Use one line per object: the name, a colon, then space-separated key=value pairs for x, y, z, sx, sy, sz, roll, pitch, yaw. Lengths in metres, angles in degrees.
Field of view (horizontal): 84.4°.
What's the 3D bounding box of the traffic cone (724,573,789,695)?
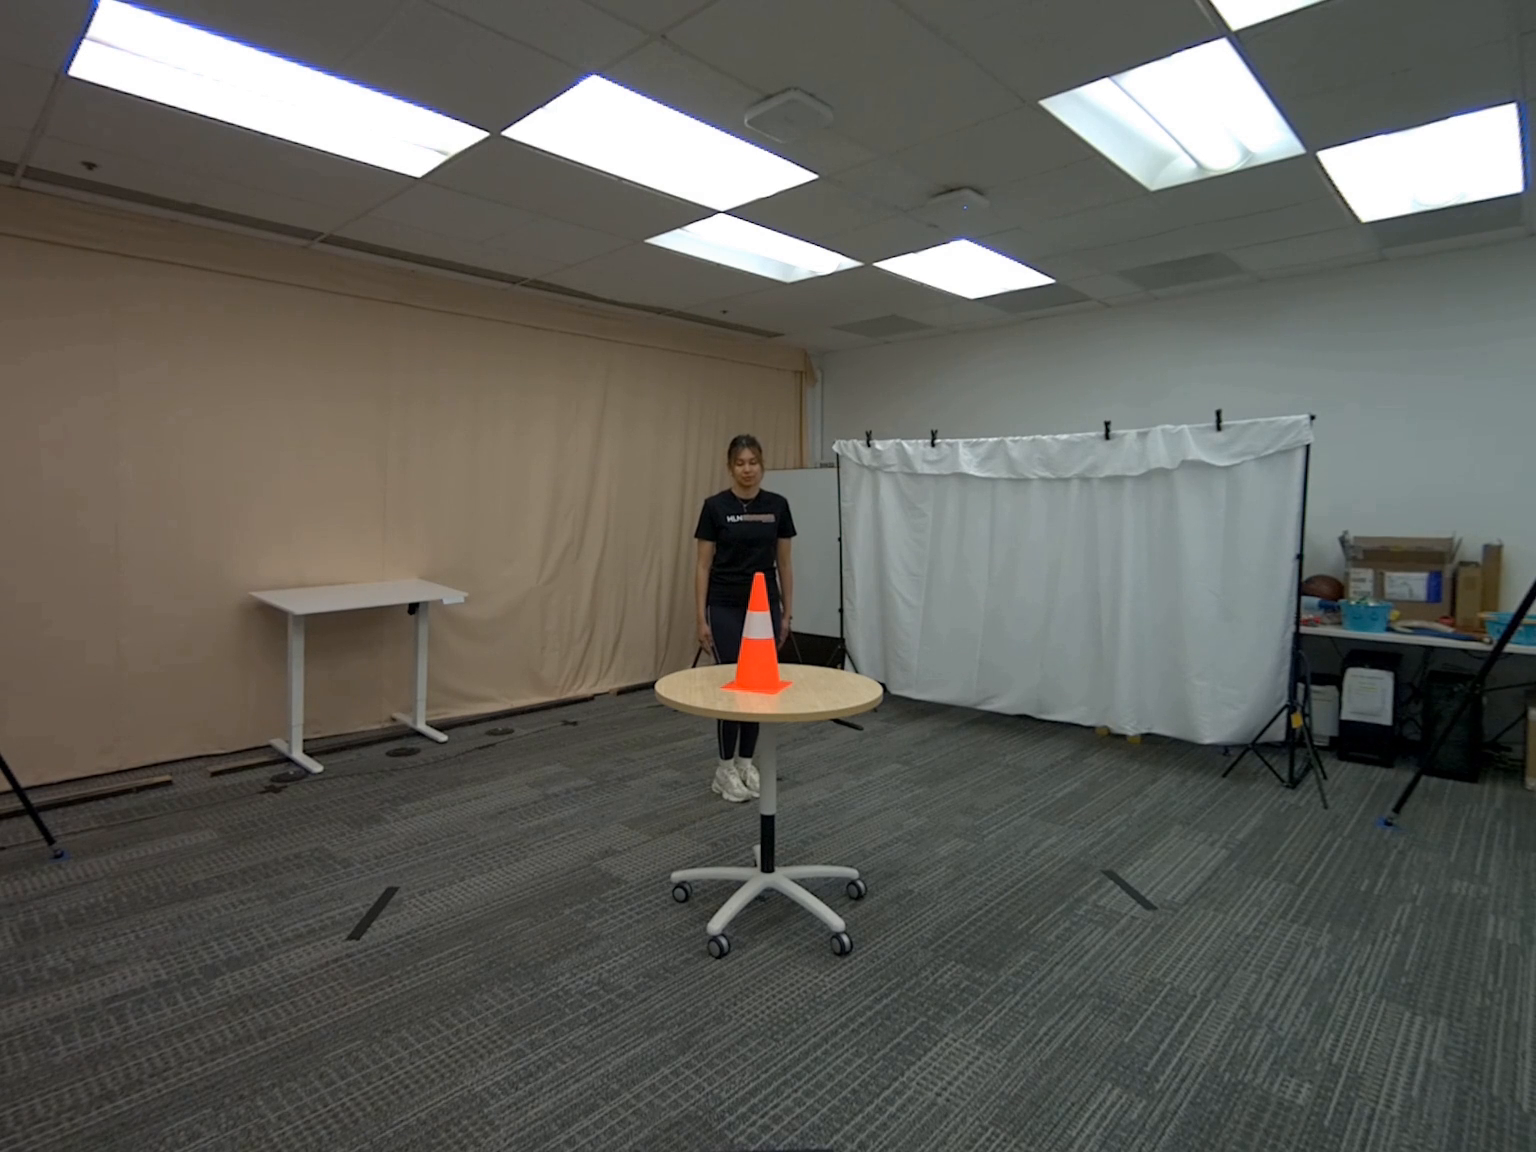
traffic cone: x=-0.031 y=0.186 z=2.840 sx=0.208 sy=0.383 sz=0.201 roll=1 pitch=4 yaw=21
